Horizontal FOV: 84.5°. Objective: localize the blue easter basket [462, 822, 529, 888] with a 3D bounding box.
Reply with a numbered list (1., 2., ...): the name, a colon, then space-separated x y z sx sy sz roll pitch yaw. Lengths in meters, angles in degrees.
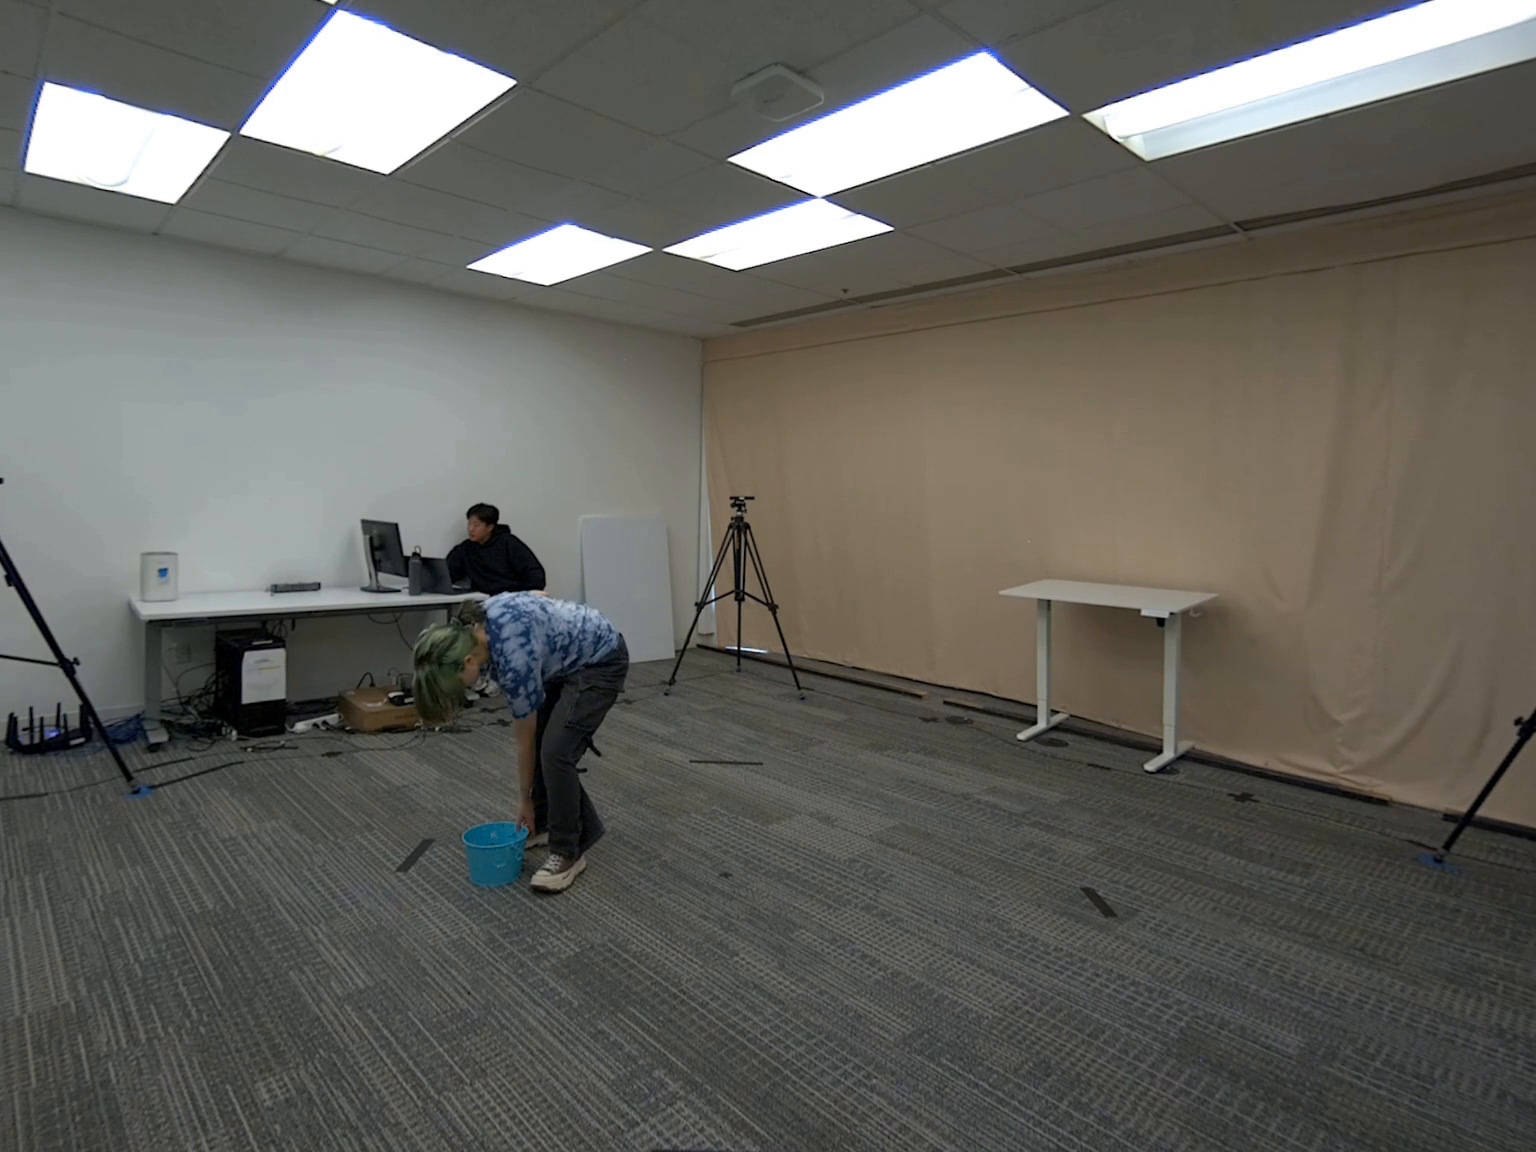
1. blue easter basket: -0.988 1.007 3.065 0.243 0.155 0.245 1 6 -1
